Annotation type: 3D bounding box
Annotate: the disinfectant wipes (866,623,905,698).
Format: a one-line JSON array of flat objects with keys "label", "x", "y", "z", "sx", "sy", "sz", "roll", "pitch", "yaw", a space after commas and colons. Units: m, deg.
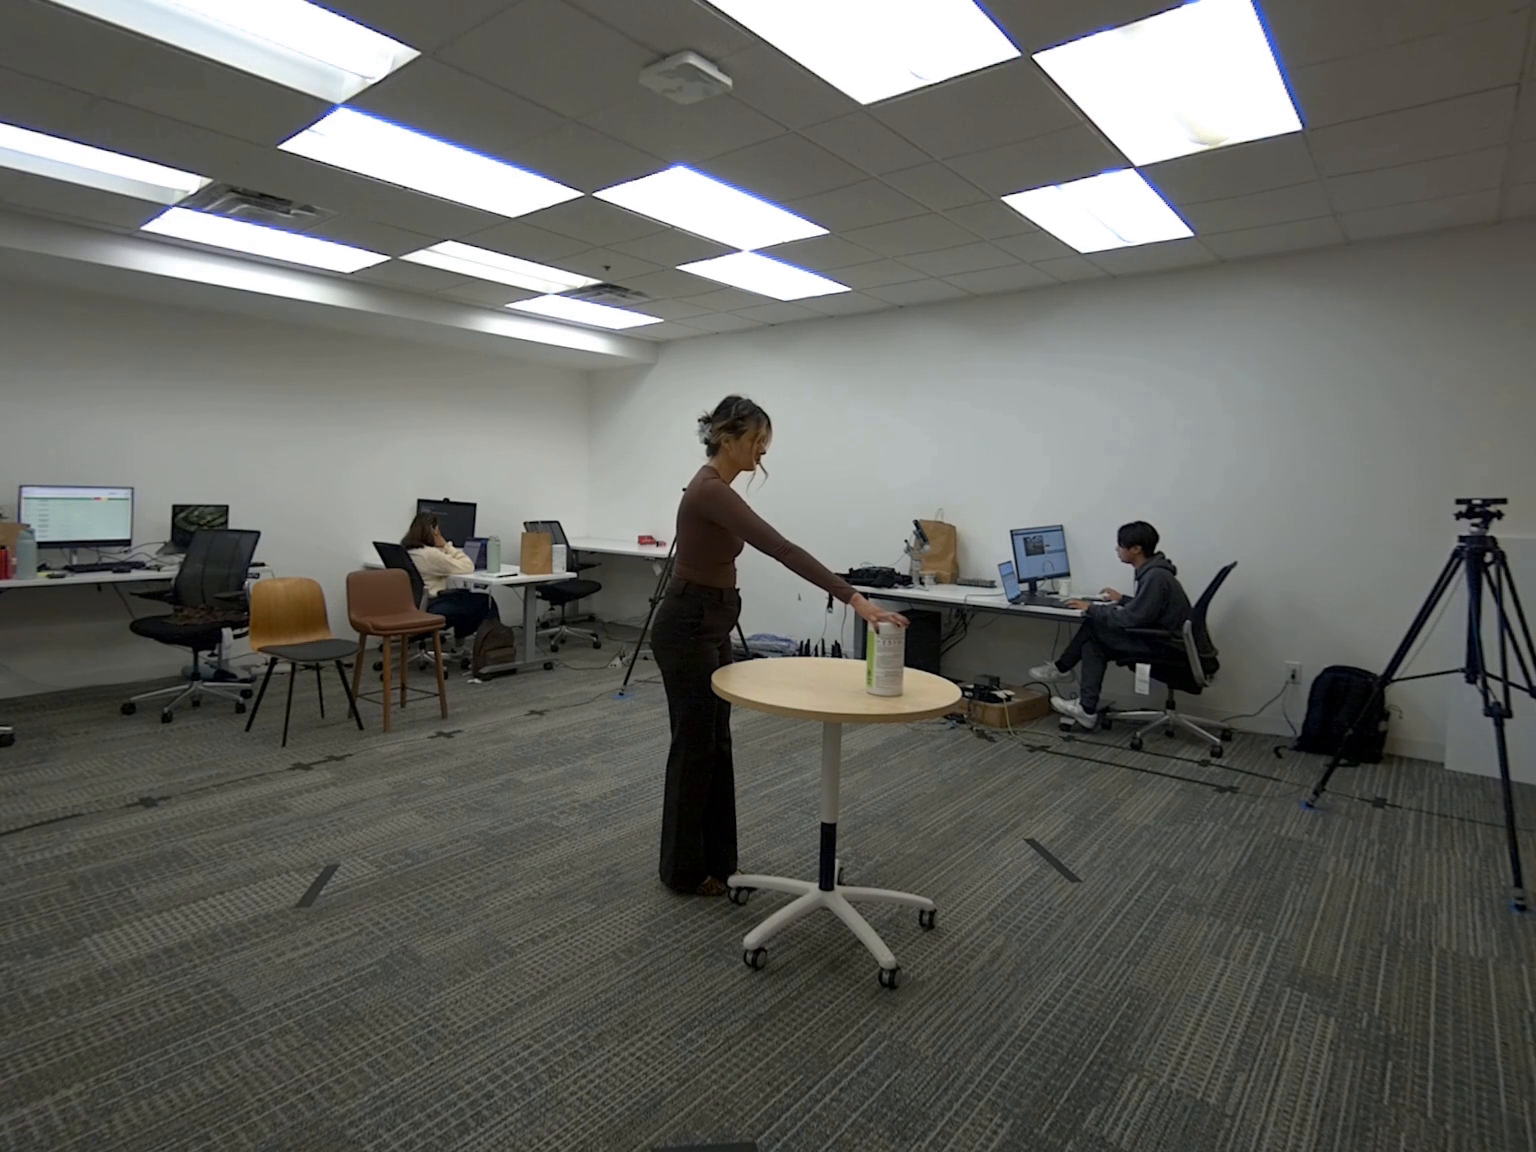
[{"label": "disinfectant wipes", "x": 0.345, "y": 0.239, "z": 2.515, "sx": 0.118, "sy": 0.217, "sz": 0.118, "roll": -1, "pitch": 3, "yaw": -2}]
